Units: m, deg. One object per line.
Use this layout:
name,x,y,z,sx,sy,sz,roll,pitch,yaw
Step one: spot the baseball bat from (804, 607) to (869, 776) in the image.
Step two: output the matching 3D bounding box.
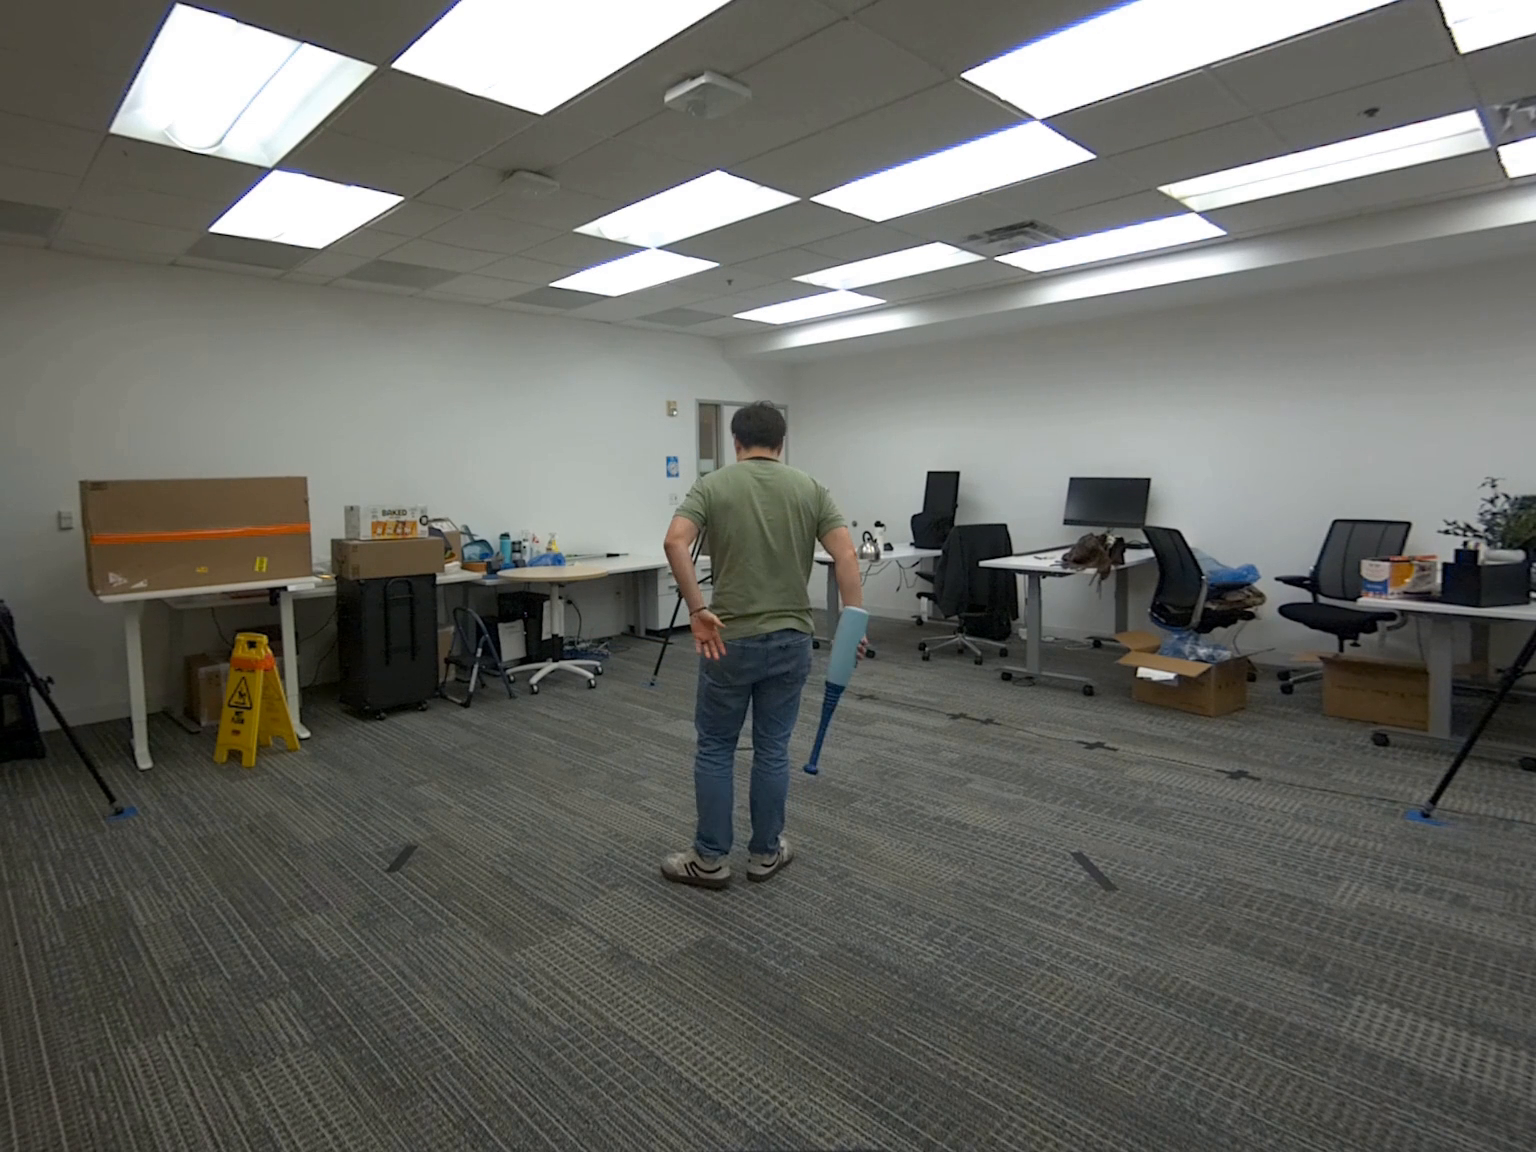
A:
baseball bat,0.205,0.362,2.729,0.089,0.544,0.089,15,-3,-1
